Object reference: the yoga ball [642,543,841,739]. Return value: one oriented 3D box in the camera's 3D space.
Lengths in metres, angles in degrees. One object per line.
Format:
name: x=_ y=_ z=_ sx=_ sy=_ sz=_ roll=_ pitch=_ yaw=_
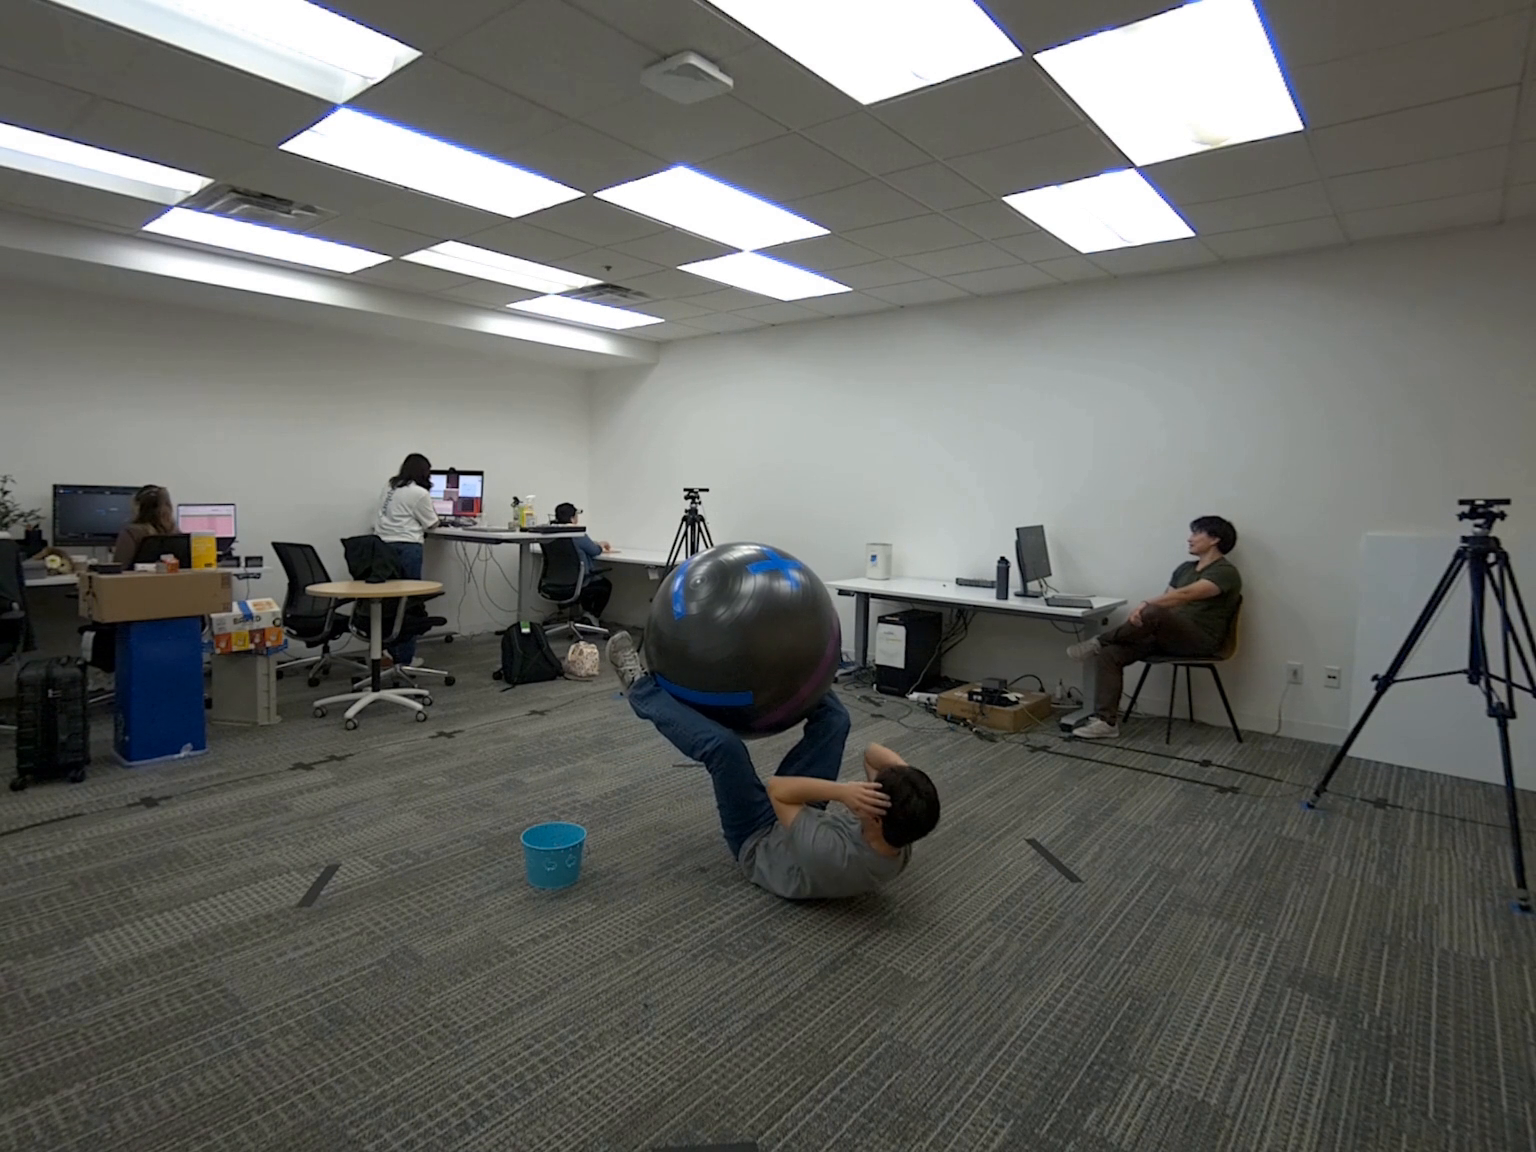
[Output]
yoga ball: x=-0.108 y=0.245 z=3.287 sx=0.757 sy=0.756 sz=0.761 roll=1 pitch=4 yaw=-2
